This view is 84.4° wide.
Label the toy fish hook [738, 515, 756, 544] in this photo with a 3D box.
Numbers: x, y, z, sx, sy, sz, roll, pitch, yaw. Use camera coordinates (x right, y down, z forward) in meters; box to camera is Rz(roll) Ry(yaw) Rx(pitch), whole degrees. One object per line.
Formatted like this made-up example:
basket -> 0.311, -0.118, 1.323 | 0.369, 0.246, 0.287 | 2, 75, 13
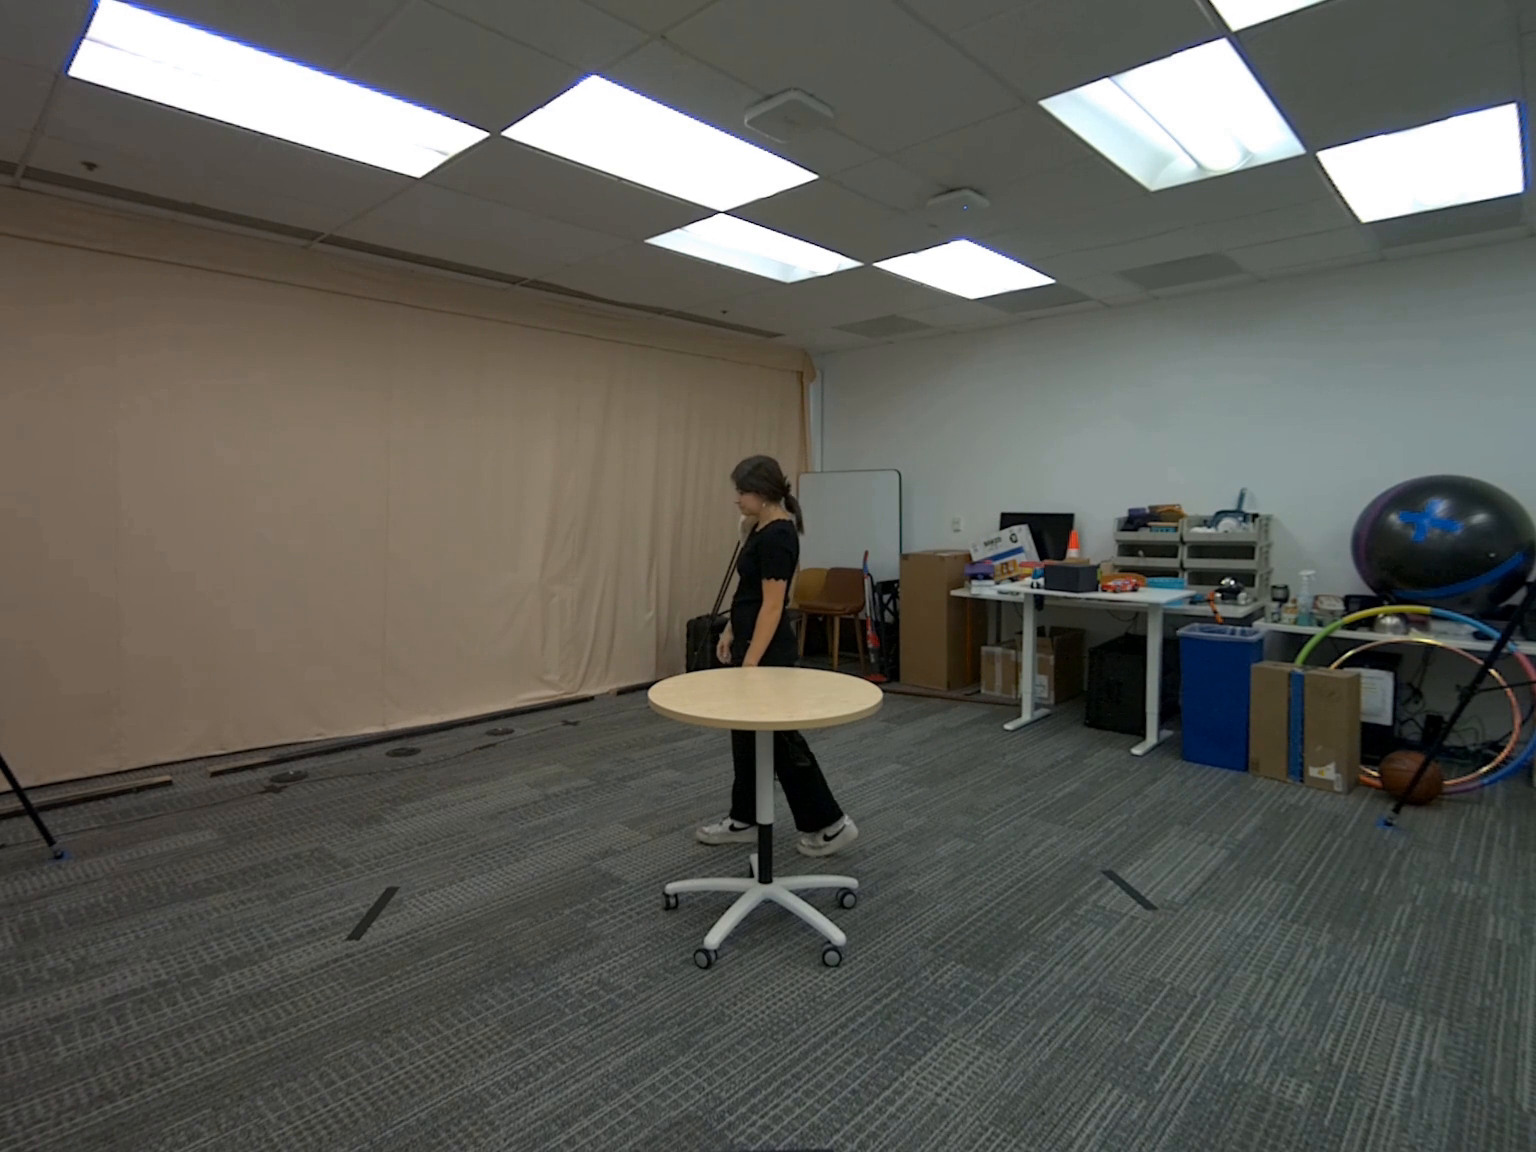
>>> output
toy fish hook -> 0.002, -0.055, 3.542 | 0.224, 0.502, 0.049 | -4, 11, -1
